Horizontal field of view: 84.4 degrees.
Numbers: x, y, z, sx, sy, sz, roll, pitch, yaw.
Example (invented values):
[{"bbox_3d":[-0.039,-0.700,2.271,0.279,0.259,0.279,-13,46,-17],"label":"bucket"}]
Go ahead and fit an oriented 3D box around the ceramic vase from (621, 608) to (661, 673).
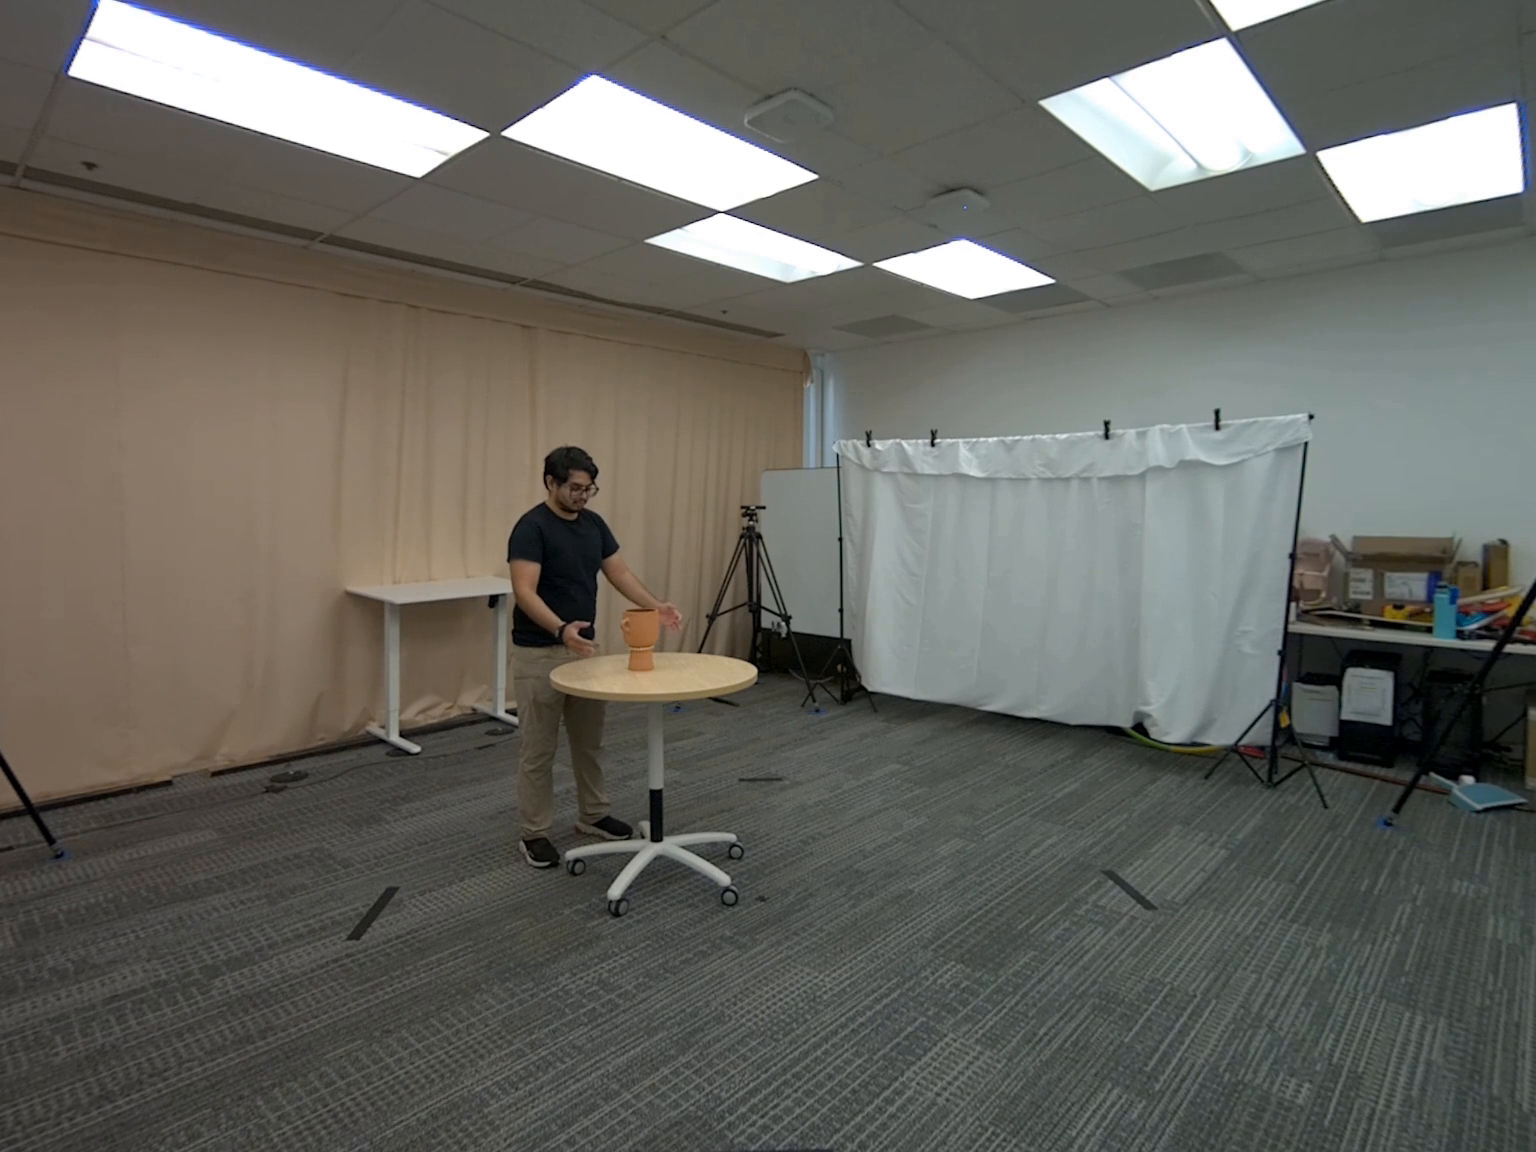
[{"bbox_3d":[-0.483,0.242,3.160,0.157,0.219,0.137,-2,3,-14],"label":"ceramic vase"}]
